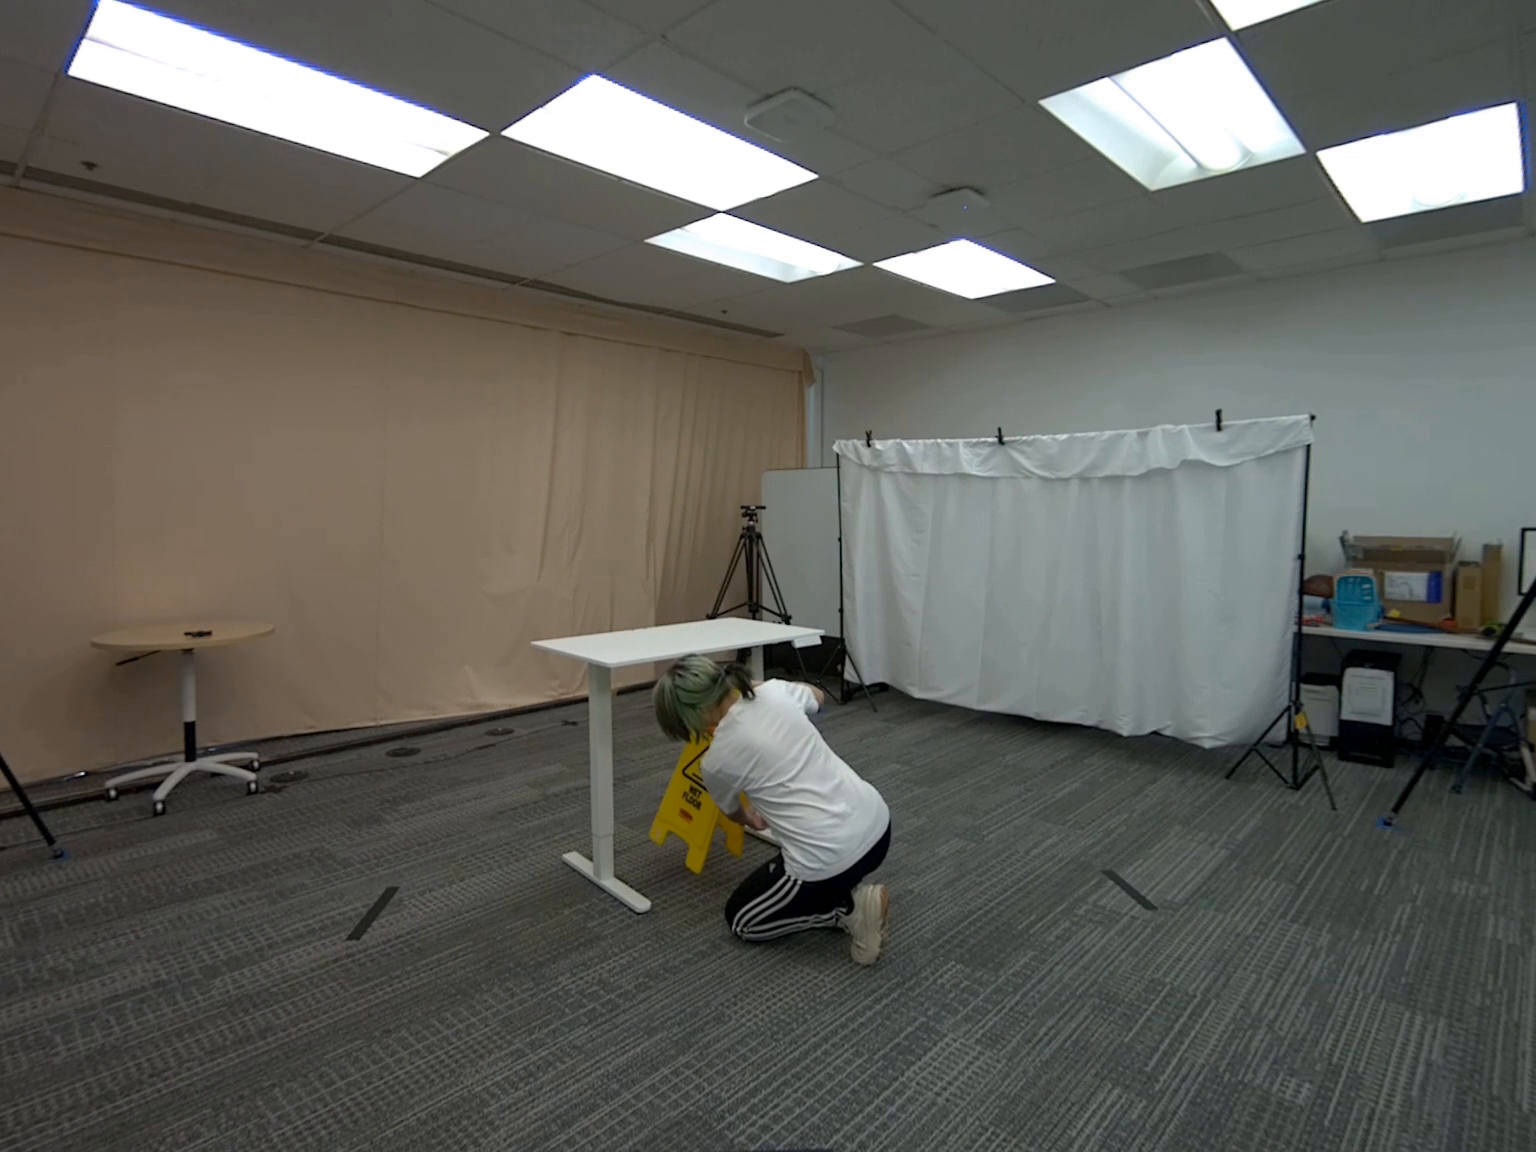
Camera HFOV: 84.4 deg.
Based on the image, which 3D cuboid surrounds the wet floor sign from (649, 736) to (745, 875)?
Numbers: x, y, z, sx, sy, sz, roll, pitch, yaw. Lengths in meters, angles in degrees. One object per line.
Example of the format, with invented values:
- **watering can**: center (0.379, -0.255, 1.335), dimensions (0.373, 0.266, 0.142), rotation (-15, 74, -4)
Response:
- **wet floor sign**: center (-0.201, 0.724, 3.146), dimensions (0.292, 0.644, 0.280), rotation (23, 13, 37)
